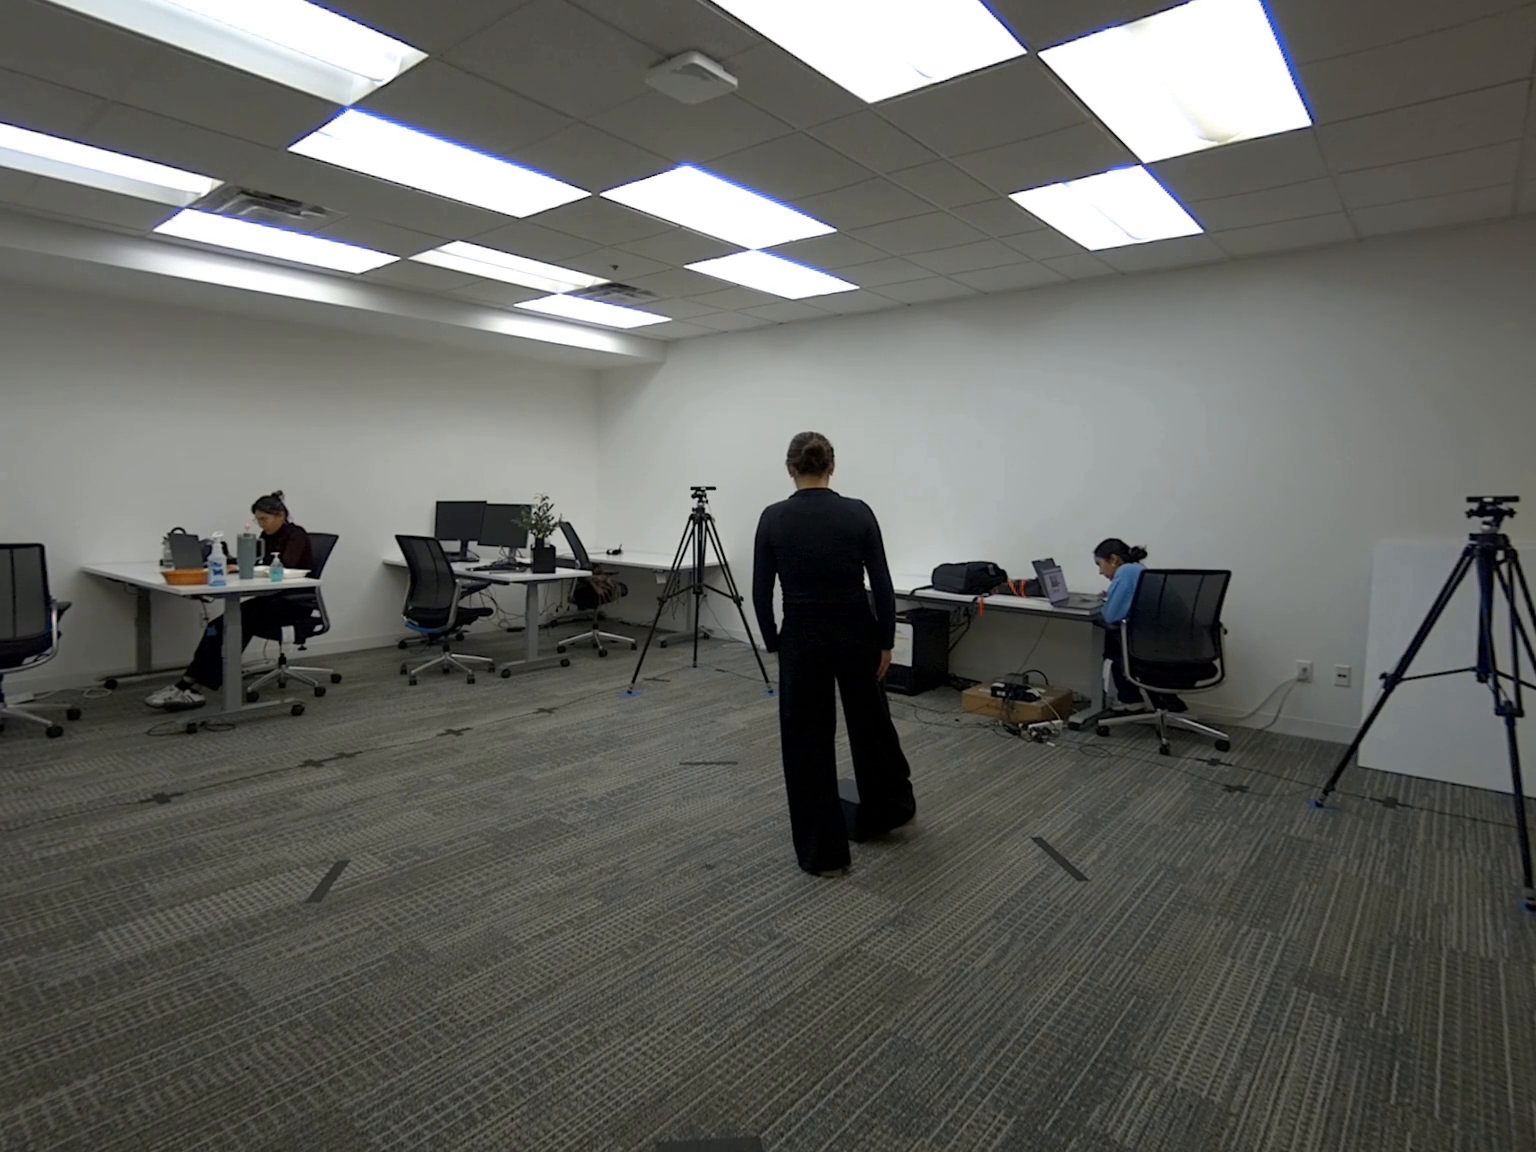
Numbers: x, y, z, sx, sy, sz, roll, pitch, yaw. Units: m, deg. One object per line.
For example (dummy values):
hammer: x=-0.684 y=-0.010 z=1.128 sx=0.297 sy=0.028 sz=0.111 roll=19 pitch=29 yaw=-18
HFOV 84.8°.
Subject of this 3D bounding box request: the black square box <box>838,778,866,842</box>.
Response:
black square box: x=0.327 y=0.949 z=3.507 sx=0.236 sy=0.155 sz=0.210 roll=6 pitch=6 yaw=43
